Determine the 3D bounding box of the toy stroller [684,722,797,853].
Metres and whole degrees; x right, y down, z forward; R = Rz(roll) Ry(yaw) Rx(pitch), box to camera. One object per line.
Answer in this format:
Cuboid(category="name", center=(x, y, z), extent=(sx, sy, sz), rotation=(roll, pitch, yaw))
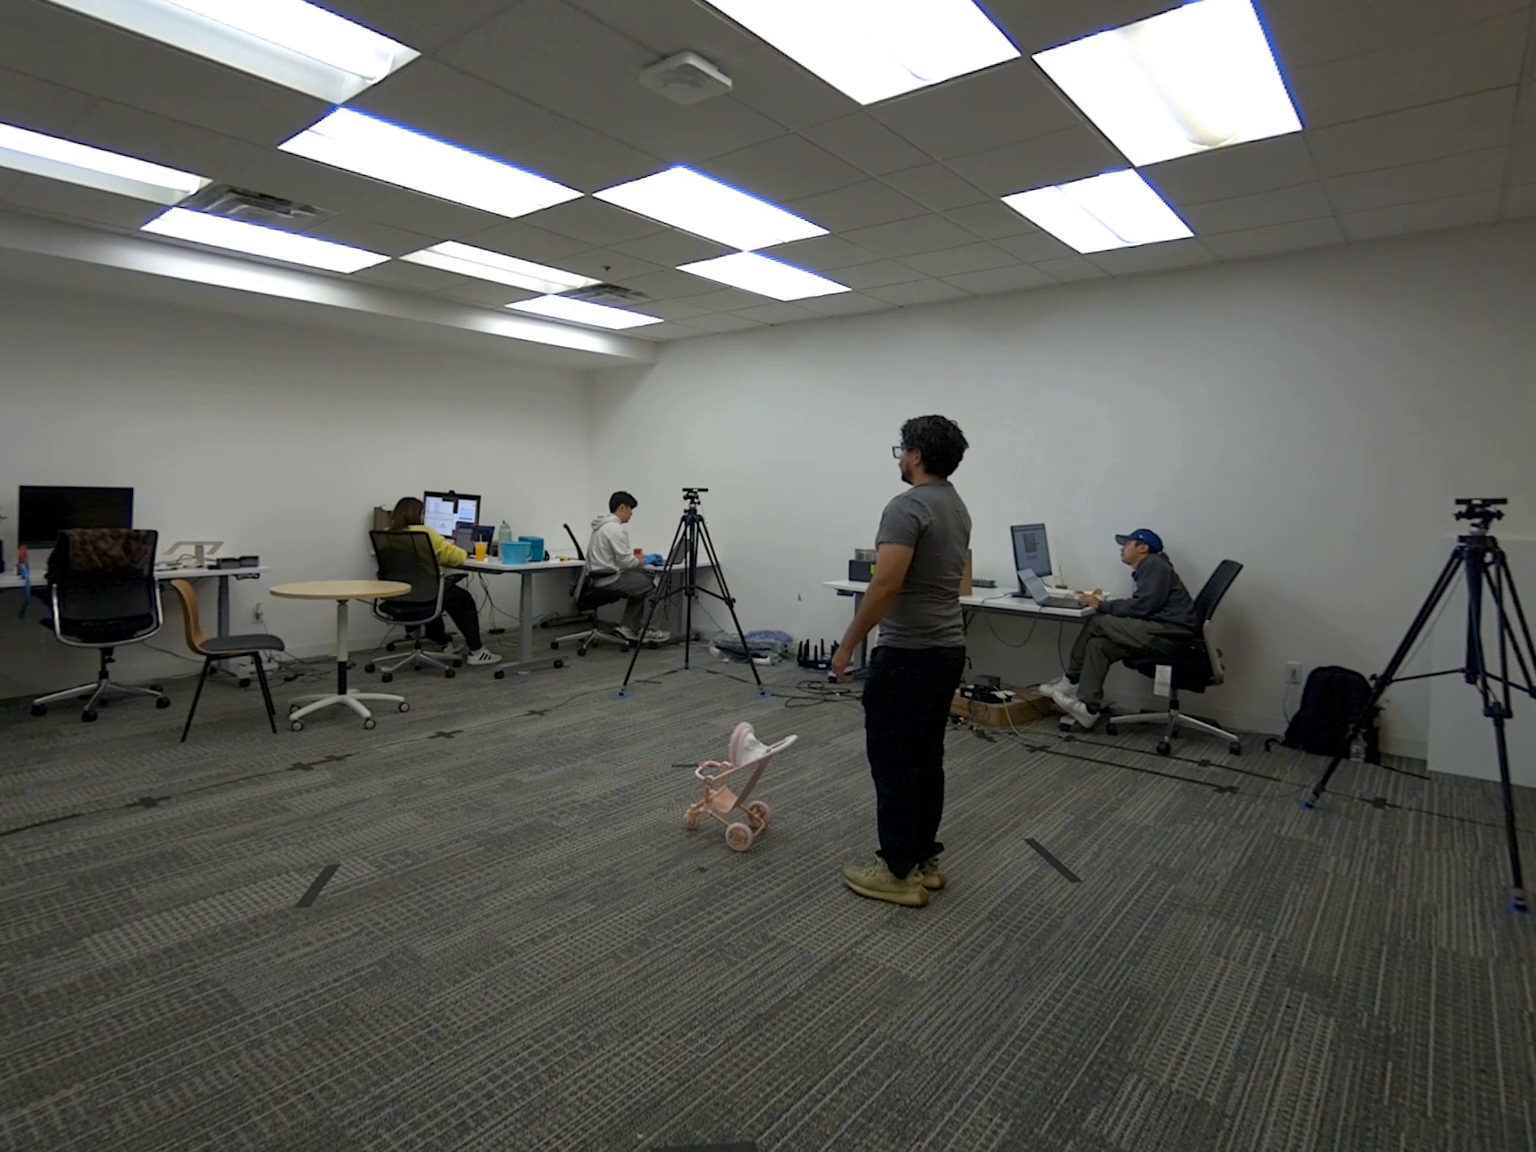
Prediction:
Cuboid(category="toy stroller", center=(-0.138, 0.823, 3.409), extent=(0.351, 0.532, 0.275), rotation=(22, 10, 22))
